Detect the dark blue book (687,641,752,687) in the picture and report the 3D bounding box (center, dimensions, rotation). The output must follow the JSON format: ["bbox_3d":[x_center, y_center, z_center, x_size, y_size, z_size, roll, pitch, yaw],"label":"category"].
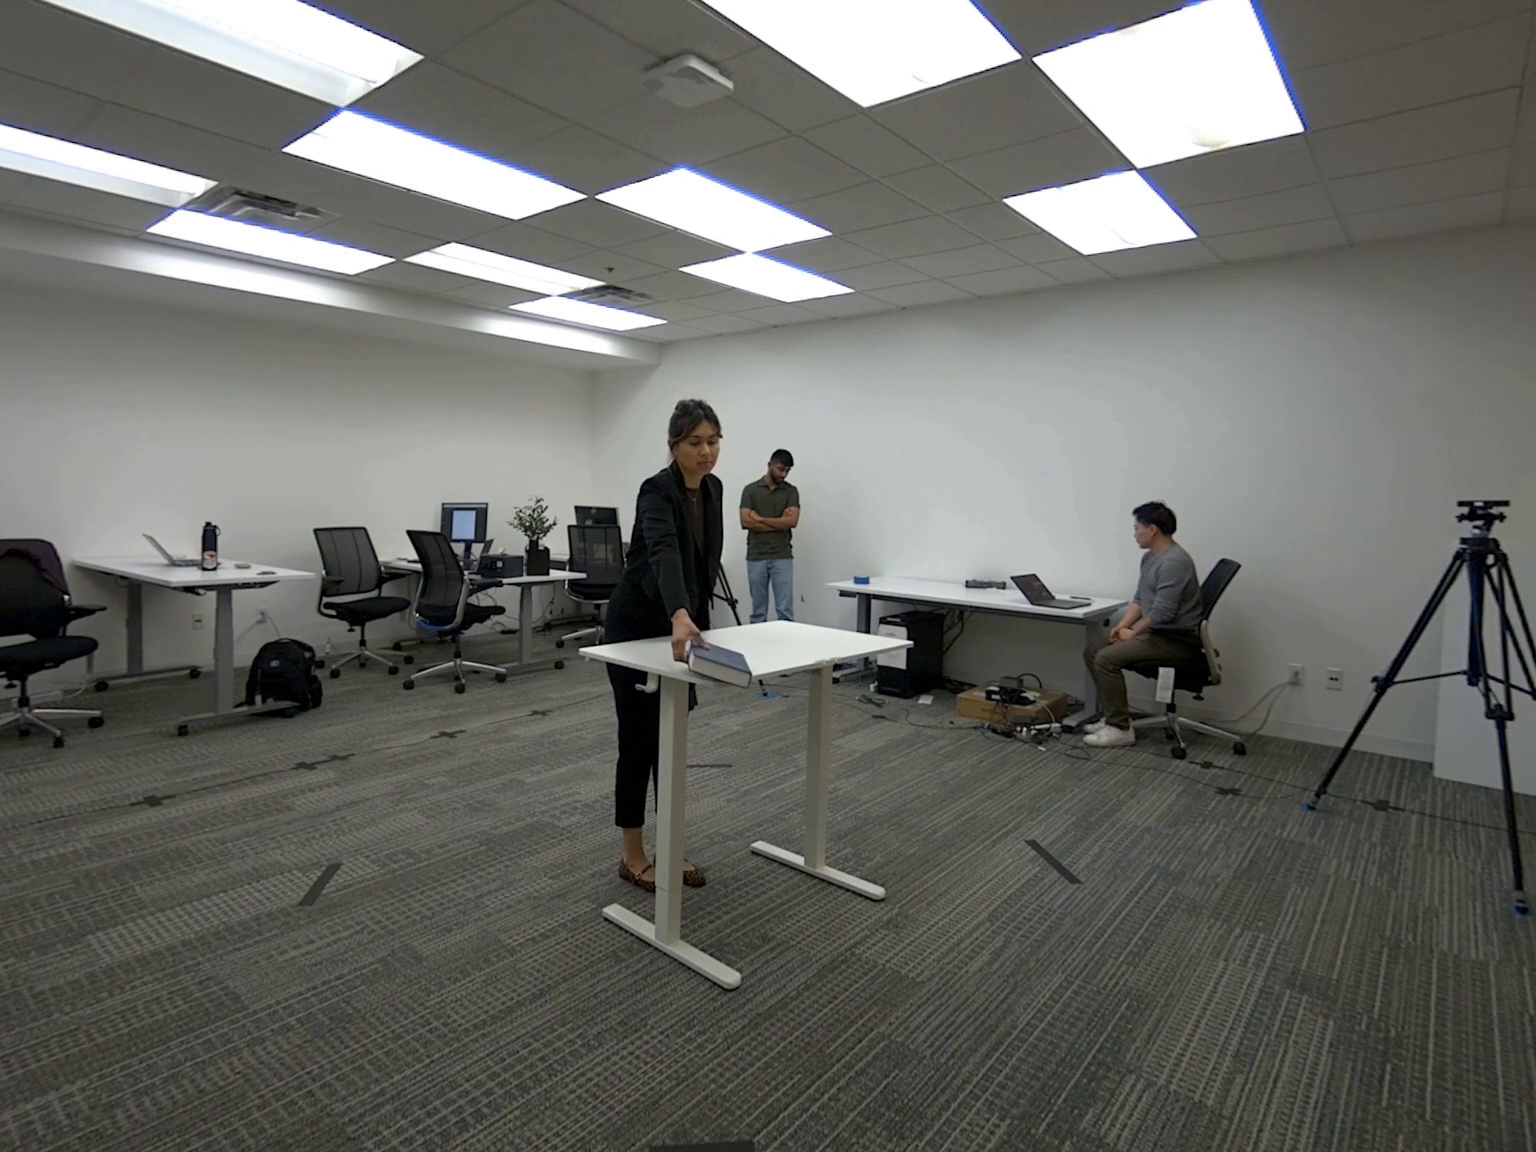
[{"bbox_3d":[-0.142,0.232,2.289,0.162,0.045,0.248,18,4,-7],"label":"dark blue book"}]
